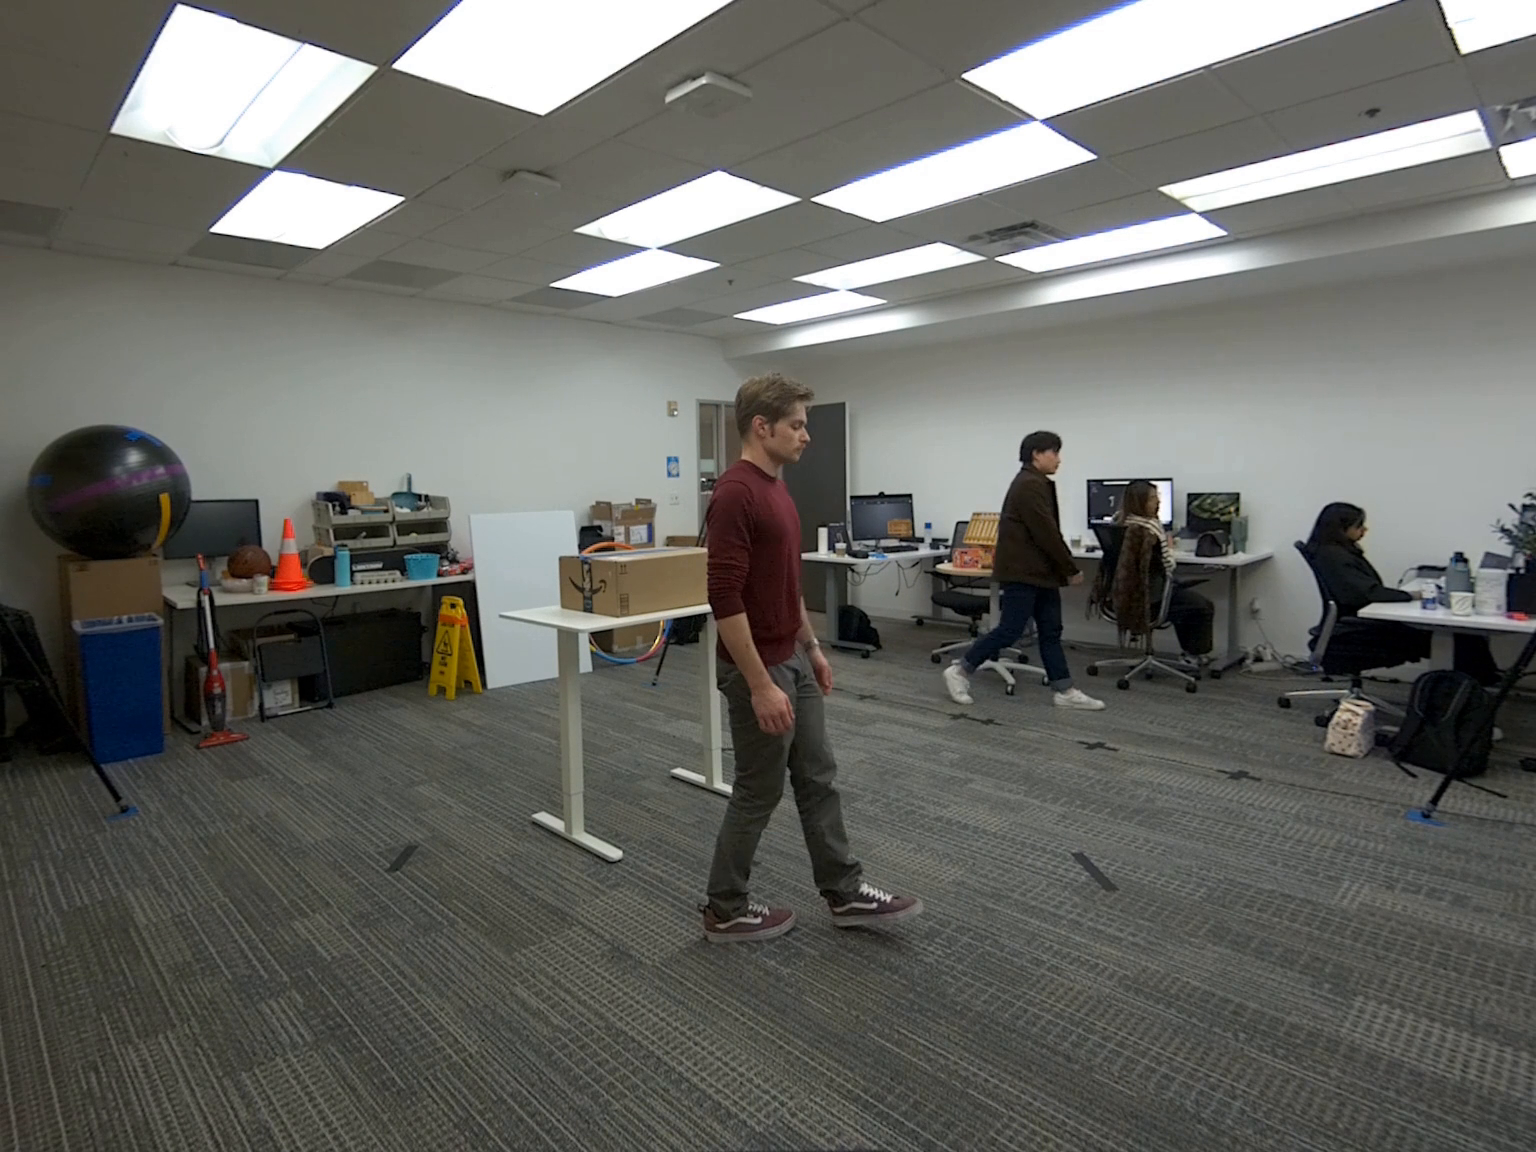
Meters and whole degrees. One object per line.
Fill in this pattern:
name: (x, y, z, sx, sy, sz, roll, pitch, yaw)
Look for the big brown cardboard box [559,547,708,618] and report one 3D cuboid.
big brown cardboard box: (-0.517, 0.012, 3.551, 0.573, 0.232, 0.430, -7, 7, -43)
